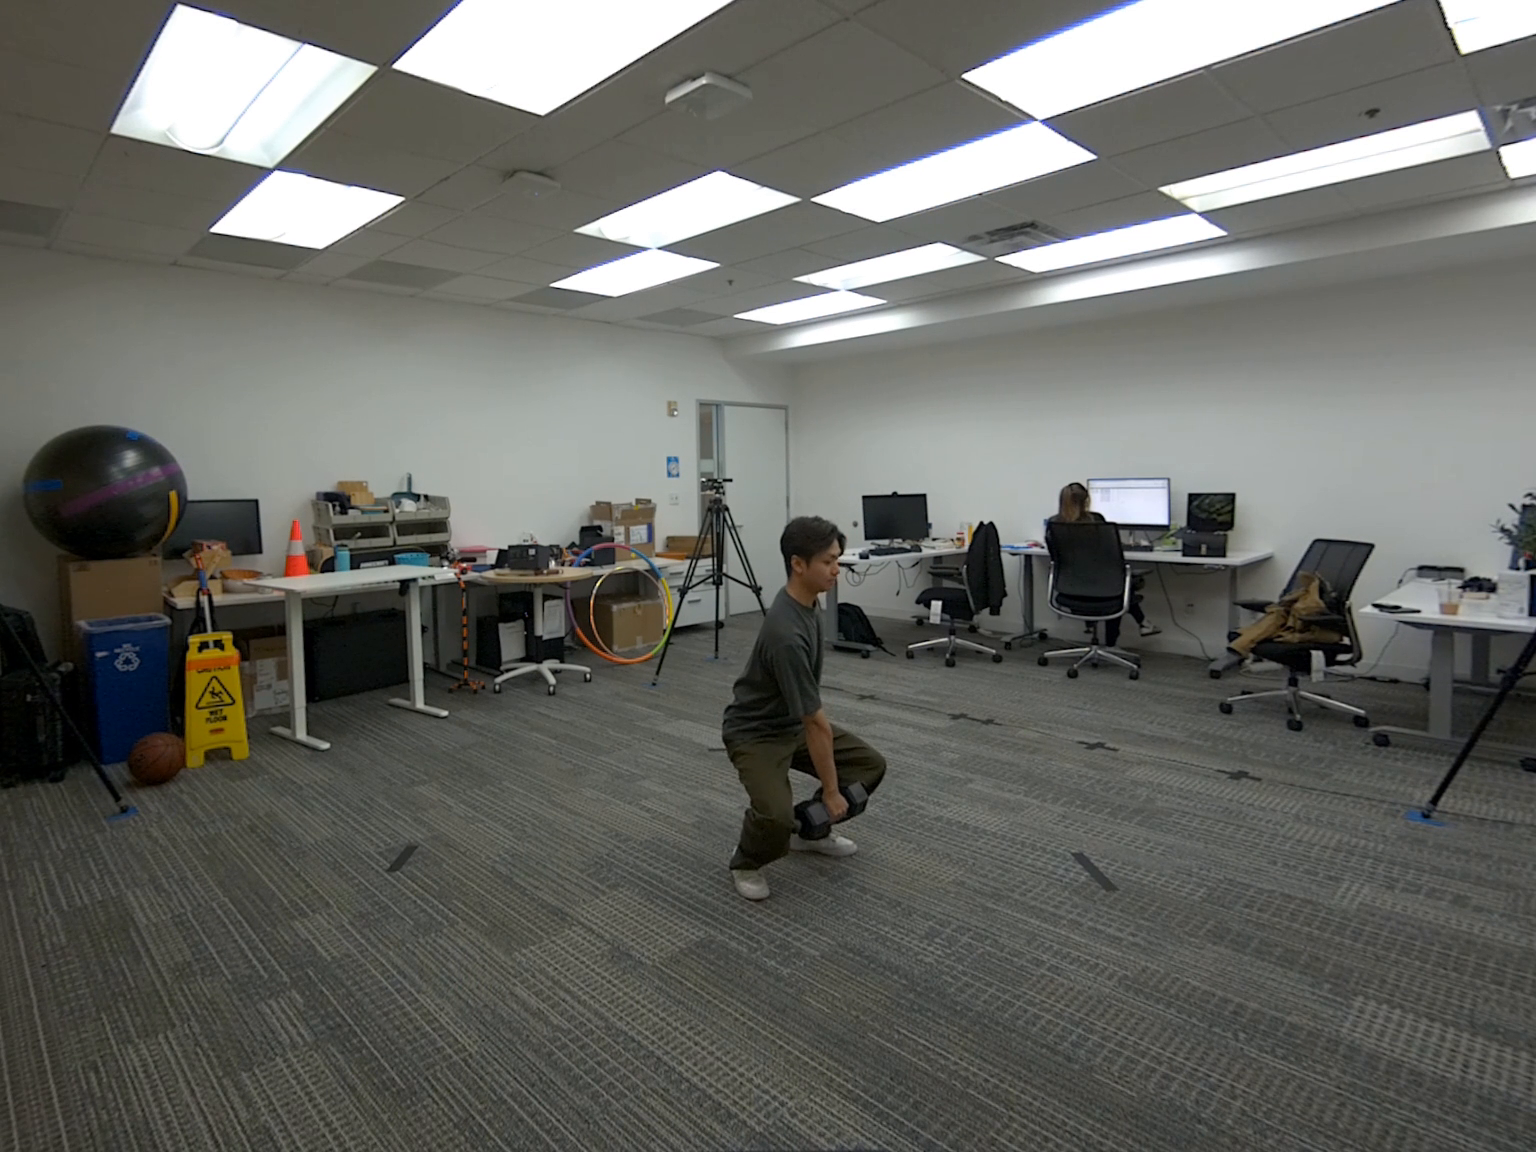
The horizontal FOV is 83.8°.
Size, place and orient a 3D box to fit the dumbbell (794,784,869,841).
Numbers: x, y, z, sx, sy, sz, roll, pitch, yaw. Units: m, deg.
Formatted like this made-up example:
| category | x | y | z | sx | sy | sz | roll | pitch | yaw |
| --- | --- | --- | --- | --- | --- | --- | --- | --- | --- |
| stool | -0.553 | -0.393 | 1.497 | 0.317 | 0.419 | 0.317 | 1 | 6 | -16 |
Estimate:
| category | x | y | z | sx | sy | sz | roll | pitch | yaw |
| --- | --- | --- | --- | --- | --- | --- | --- | --- | --- |
| dumbbell | 0.206 | 0.790 | 2.913 | 0.287 | 0.121 | 0.113 | -13 | 34 | -43 |
